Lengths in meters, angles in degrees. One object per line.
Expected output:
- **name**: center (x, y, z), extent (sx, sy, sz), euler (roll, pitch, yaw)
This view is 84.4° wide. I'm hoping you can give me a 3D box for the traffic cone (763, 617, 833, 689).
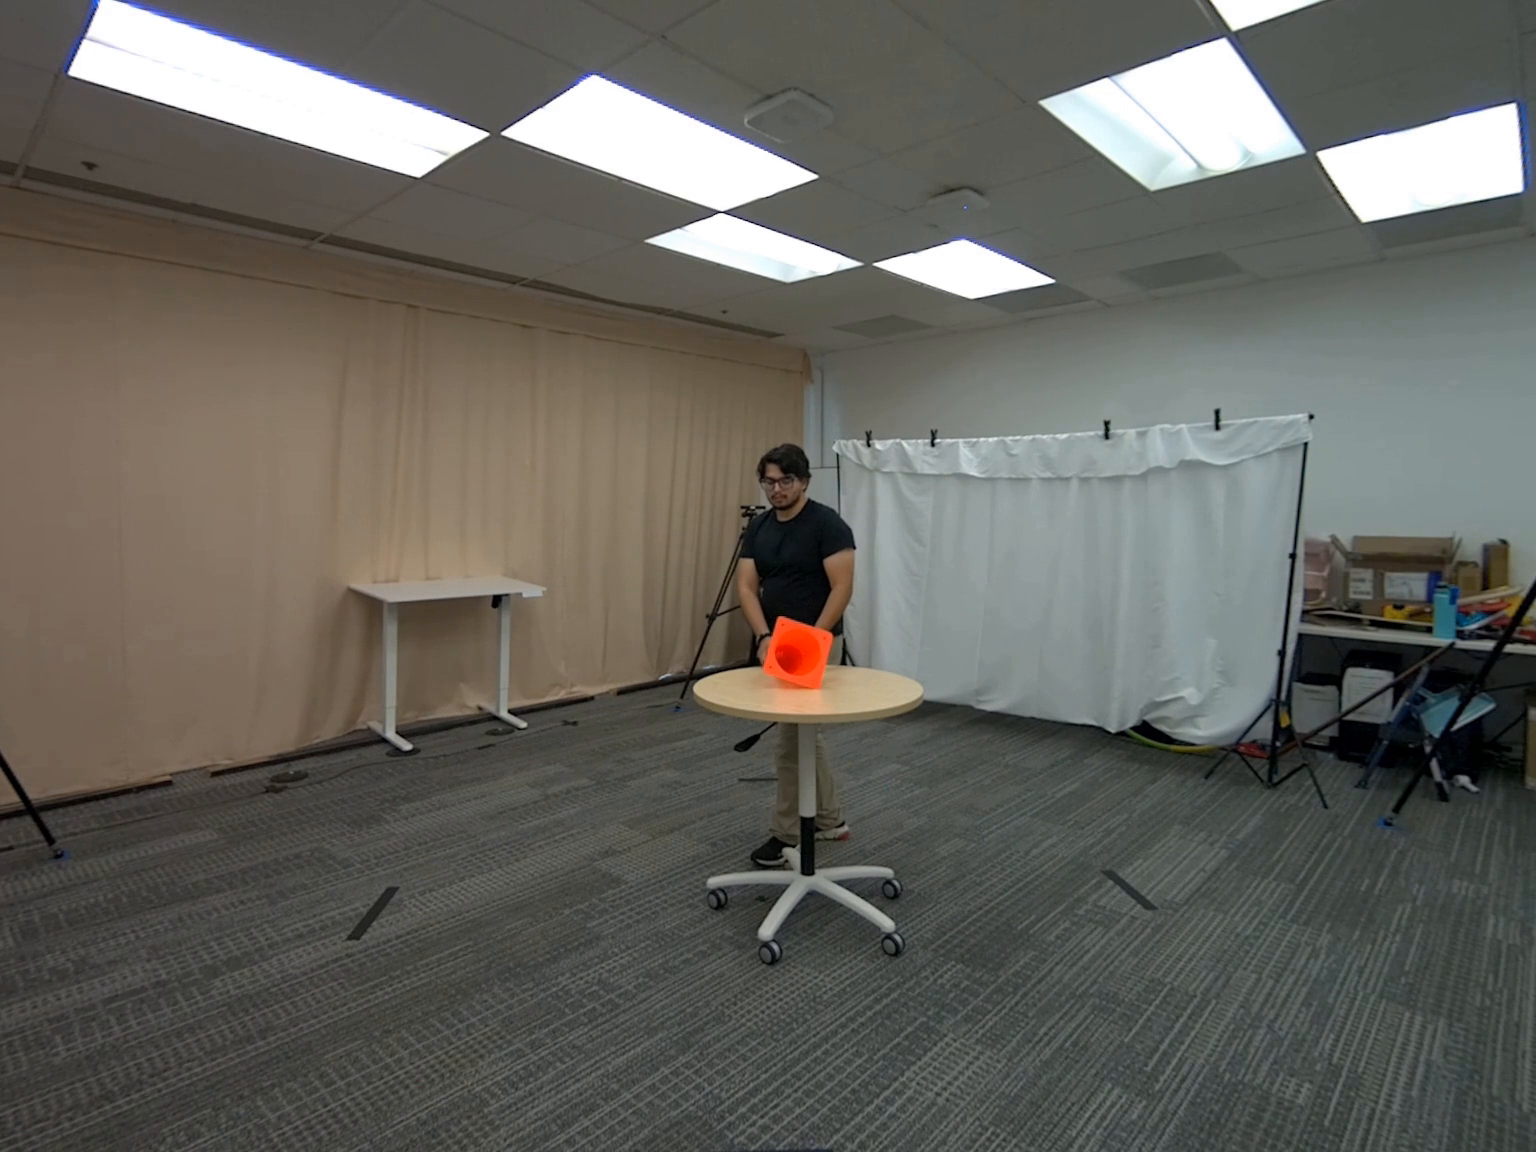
- **traffic cone**: center (0.079, 0.291, 2.993), extent (0.204, 0.205, 0.381), euler (20, -9, 3)
